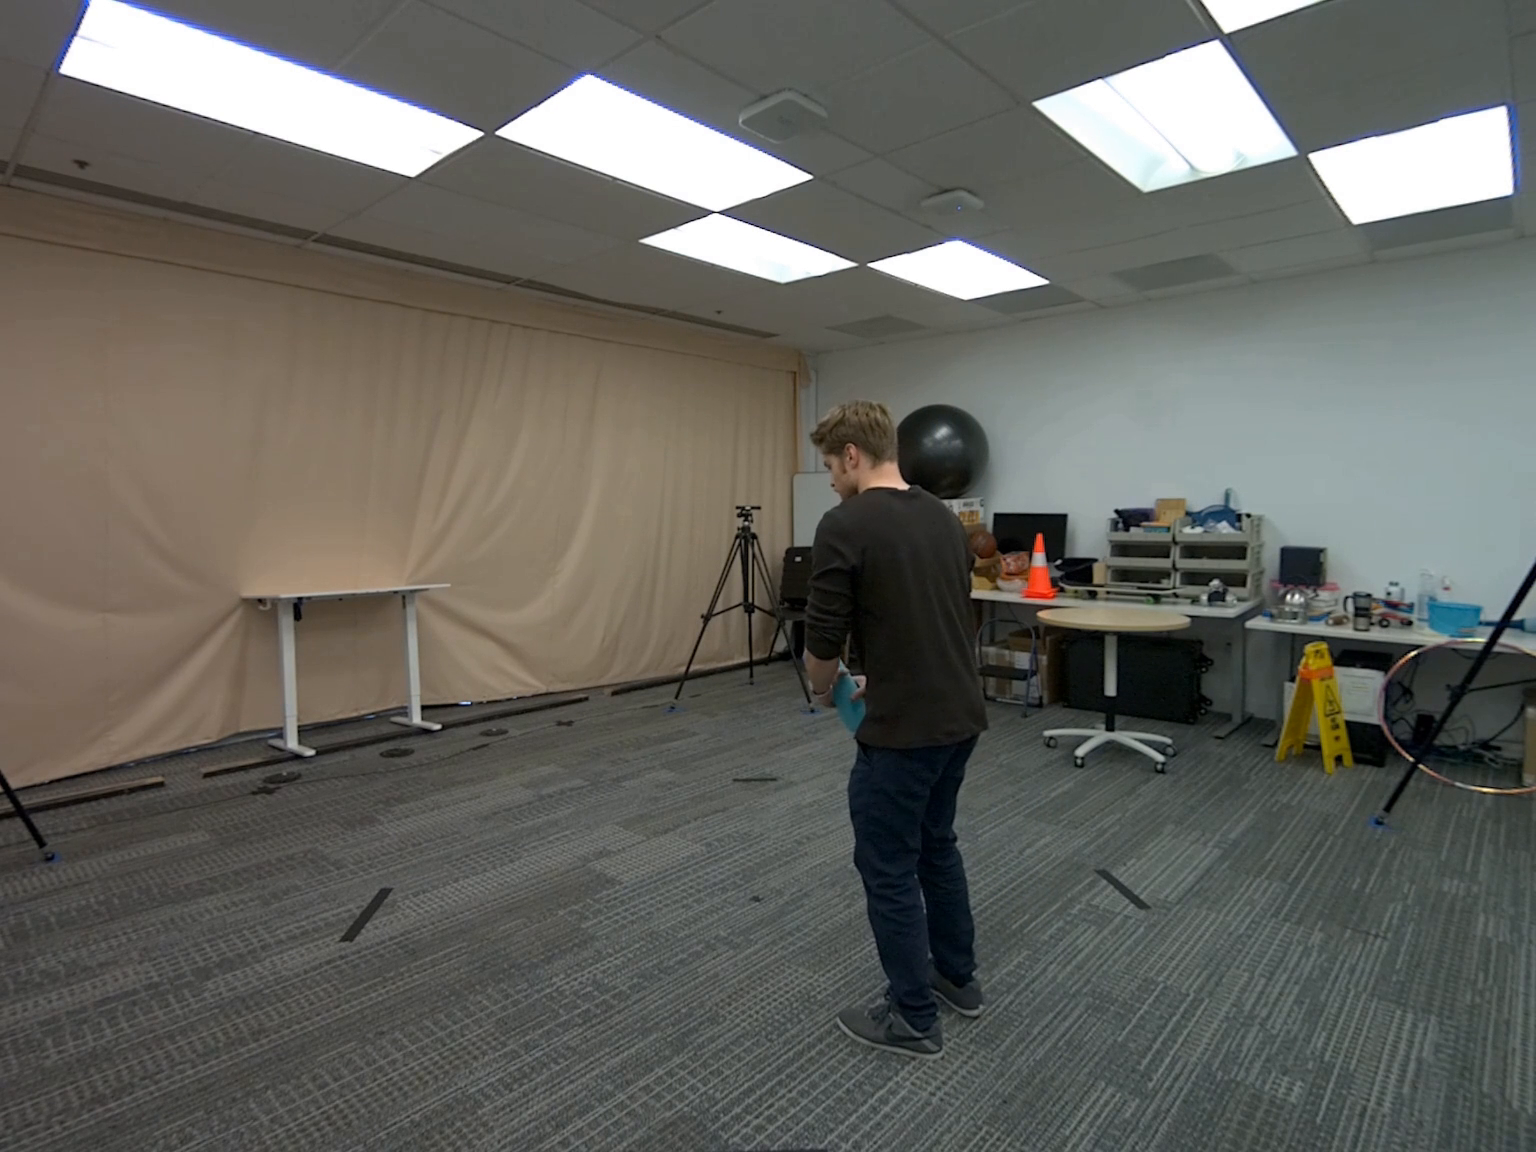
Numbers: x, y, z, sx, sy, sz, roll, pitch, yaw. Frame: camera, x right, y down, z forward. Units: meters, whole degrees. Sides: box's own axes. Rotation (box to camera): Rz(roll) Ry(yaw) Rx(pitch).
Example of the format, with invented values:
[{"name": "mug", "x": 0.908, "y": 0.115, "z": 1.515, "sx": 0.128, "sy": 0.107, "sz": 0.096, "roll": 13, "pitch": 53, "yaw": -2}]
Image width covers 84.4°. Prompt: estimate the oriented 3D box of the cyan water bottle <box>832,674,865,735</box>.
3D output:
[{"name": "cyan water bottle", "x": 0.240, "y": 0.322, "z": 2.456, "sx": 0.092, "sy": 0.282, "sz": 0.092, "roll": -33, "pitch": 3, "yaw": 1}]
